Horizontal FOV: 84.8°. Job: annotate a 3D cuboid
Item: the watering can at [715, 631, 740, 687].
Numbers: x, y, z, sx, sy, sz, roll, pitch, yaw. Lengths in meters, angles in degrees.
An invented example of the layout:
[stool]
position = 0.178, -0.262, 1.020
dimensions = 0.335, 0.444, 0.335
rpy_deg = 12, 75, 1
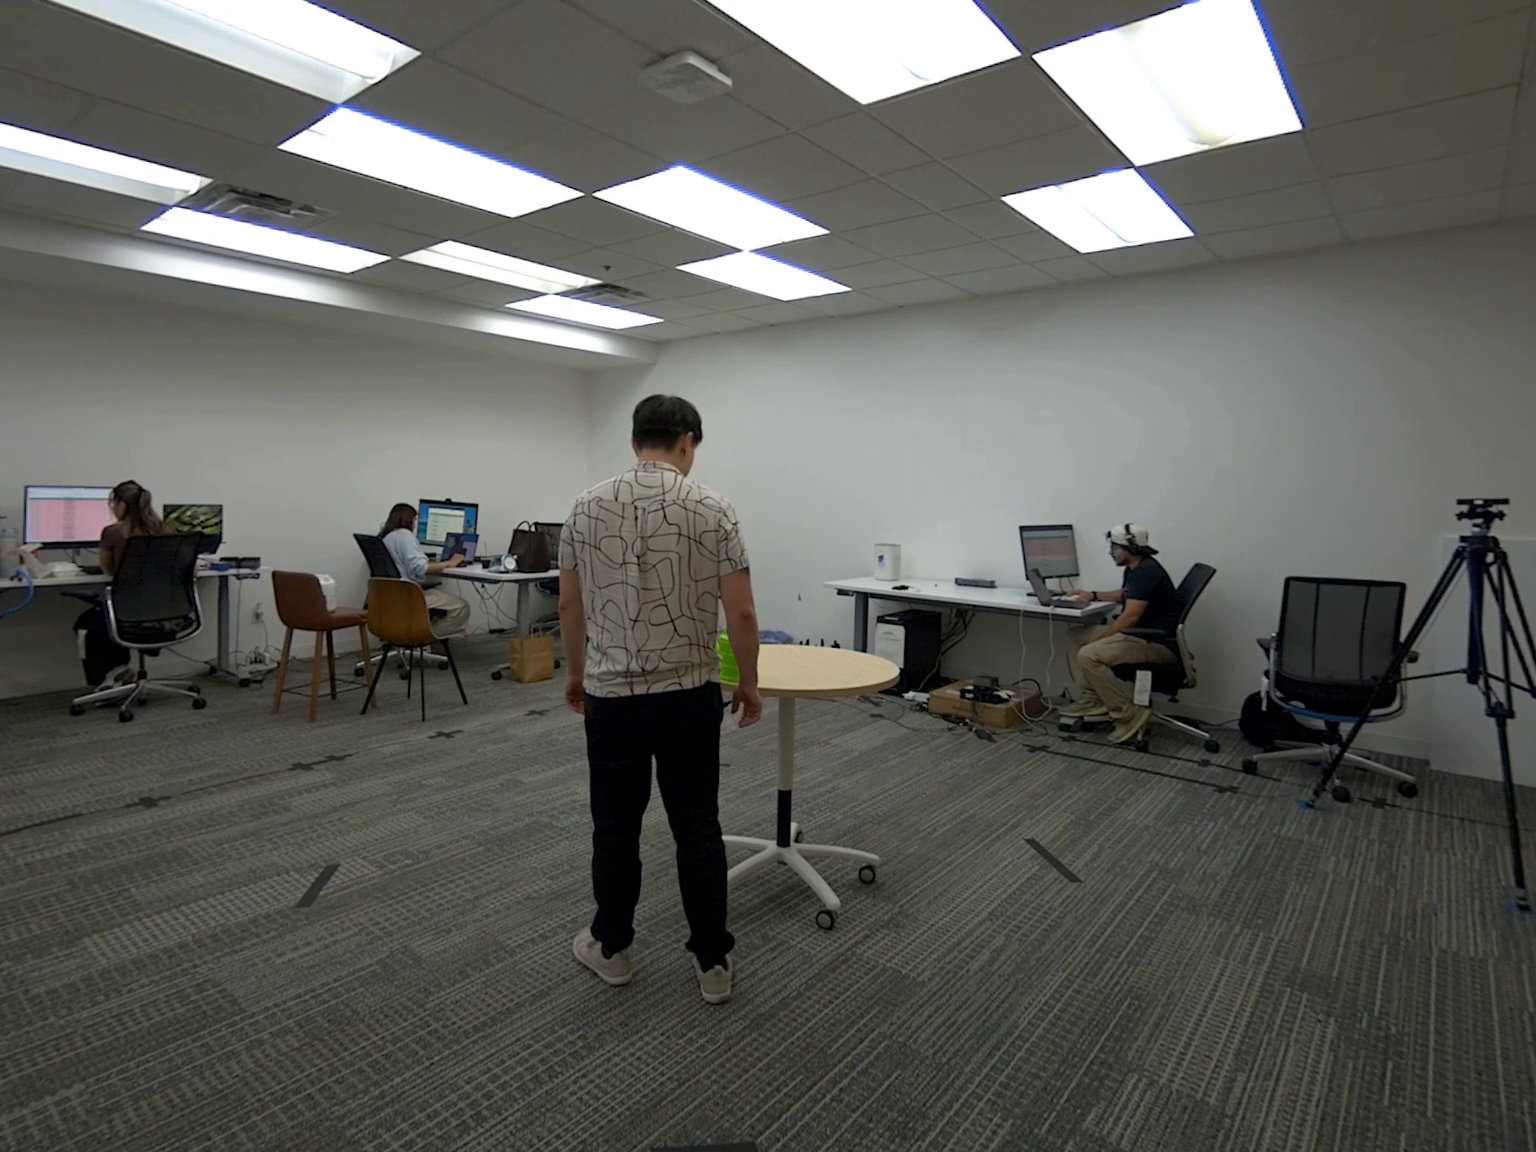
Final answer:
[watering can]
position = -0.130, 0.236, 2.749
dimensions = 0.095, 0.176, 0.287
rpy_deg = 1, 5, -33
